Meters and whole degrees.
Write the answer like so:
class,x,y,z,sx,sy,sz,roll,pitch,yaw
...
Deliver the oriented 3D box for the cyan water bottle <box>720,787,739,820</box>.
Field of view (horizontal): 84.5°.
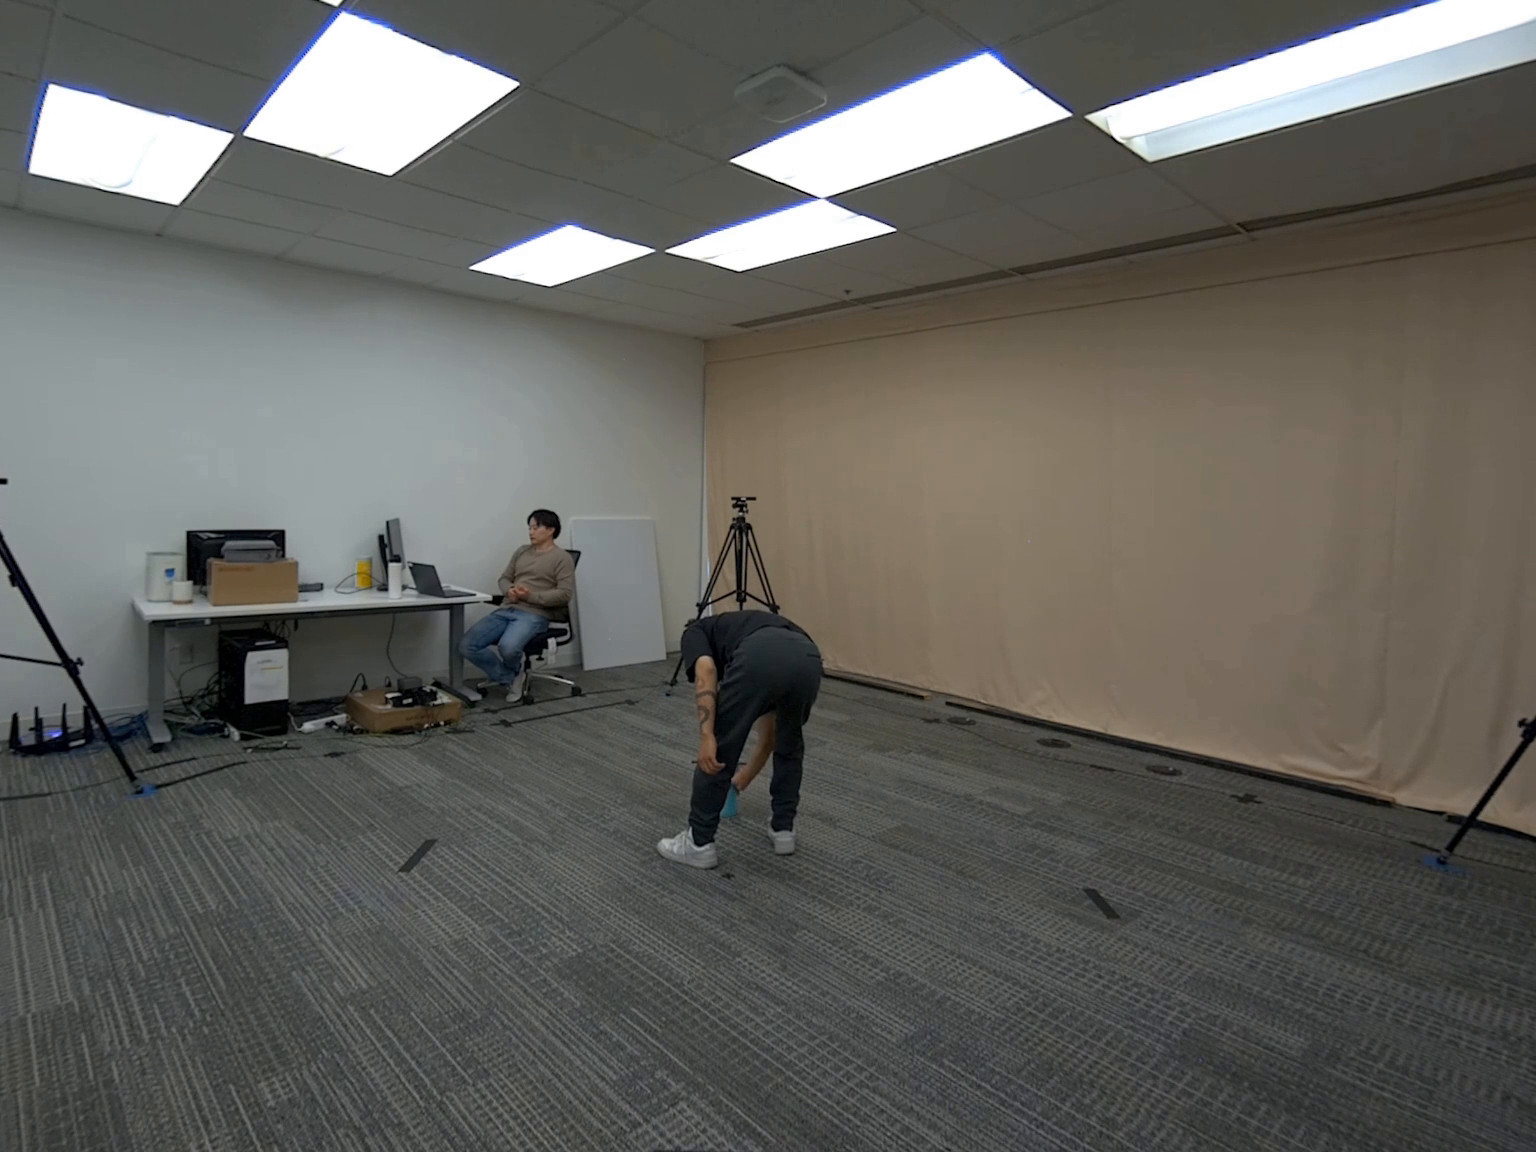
class,x,y,z,sx,sy,sz,roll,pitch,yaw
cyan water bottle,-0.187,0.917,3.725,0.092,0.283,0.092,1,3,-1
